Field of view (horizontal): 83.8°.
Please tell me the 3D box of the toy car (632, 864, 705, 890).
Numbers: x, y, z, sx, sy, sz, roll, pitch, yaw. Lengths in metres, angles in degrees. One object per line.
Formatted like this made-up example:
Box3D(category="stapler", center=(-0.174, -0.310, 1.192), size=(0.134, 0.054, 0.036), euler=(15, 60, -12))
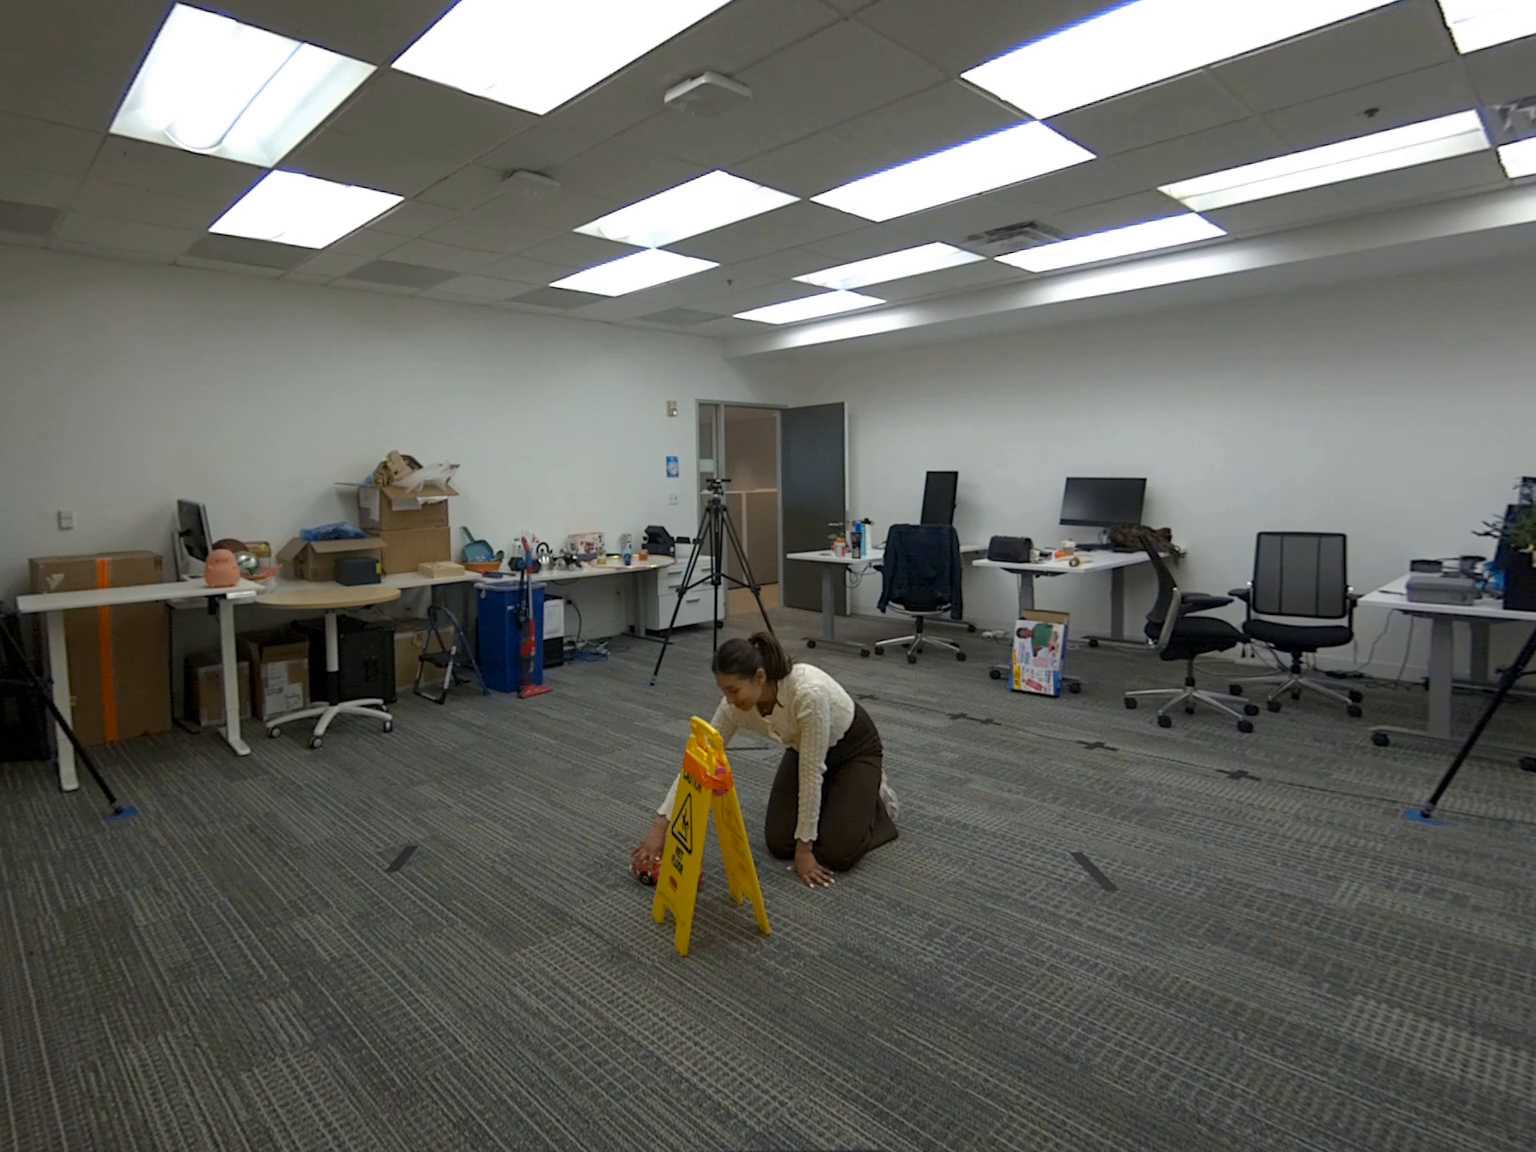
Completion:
Box3D(category="toy car", center=(-0.346, 1.031, 2.981), size=(0.260, 0.083, 0.128), euler=(13, 7, 18))
